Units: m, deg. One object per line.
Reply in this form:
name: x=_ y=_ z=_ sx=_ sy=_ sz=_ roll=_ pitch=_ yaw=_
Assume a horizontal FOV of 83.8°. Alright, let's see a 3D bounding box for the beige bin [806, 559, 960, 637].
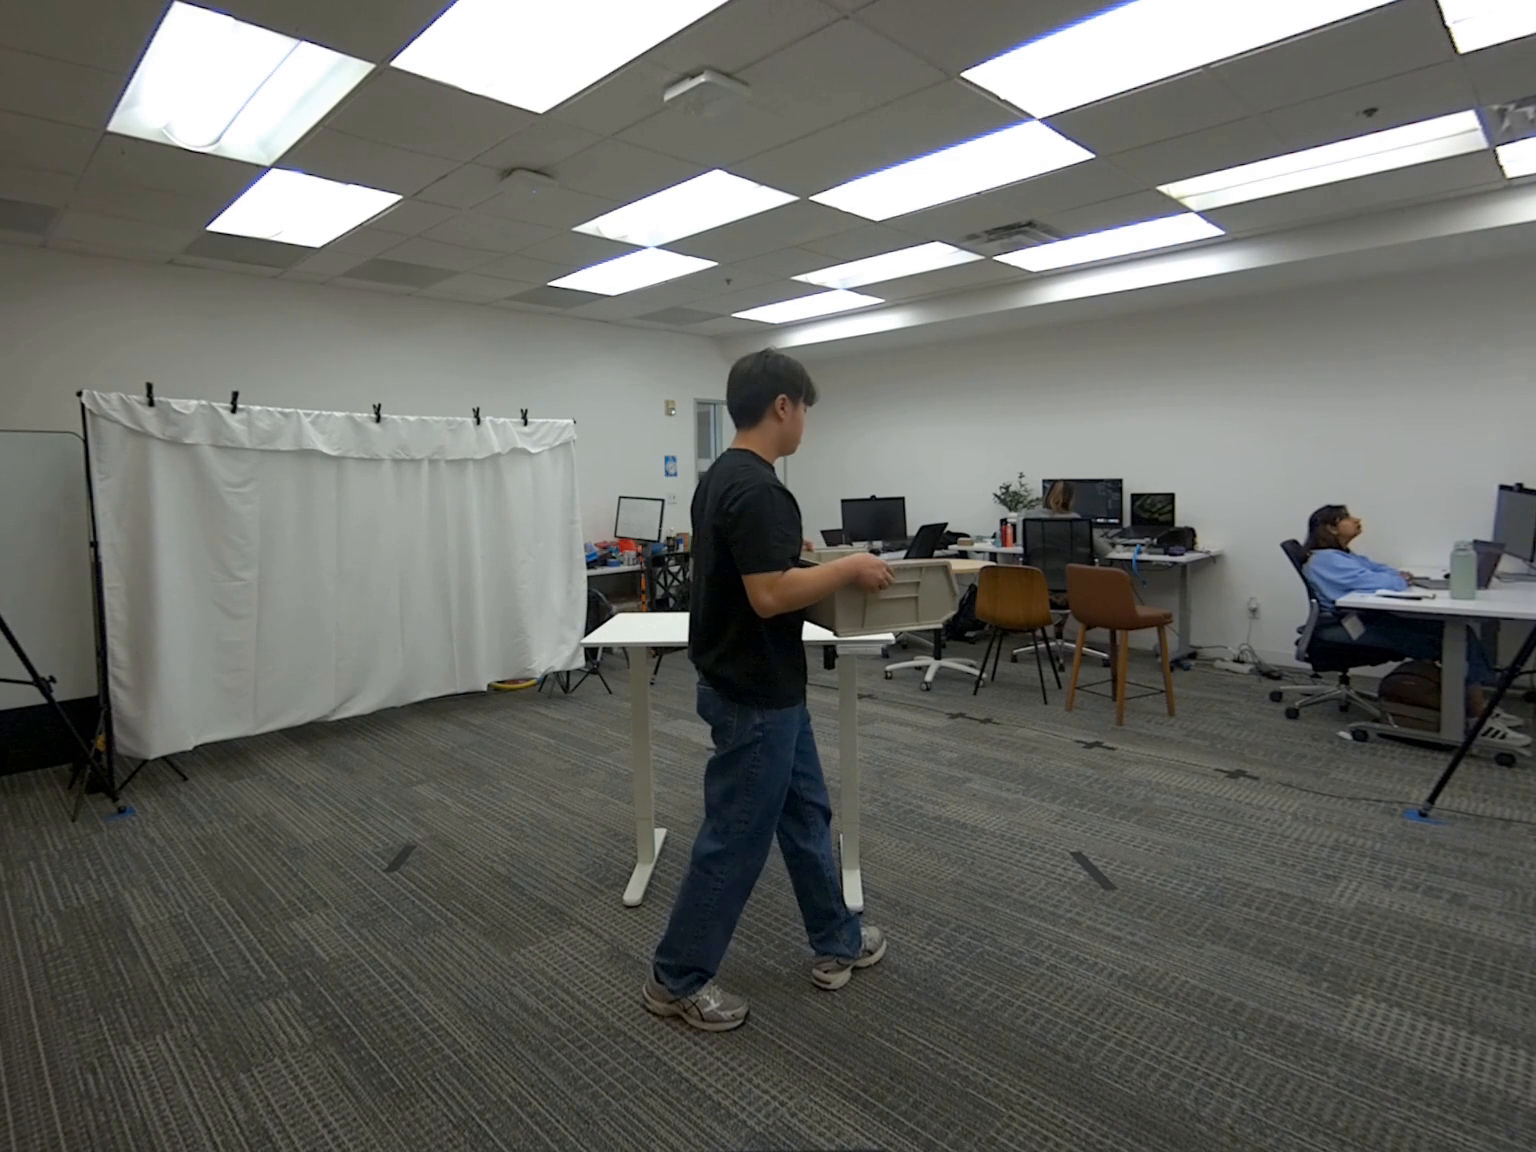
beige bin: x=0.255 y=0.026 z=2.389 sx=0.370 sy=0.188 sz=0.433 roll=-5 pitch=8 yaw=-22
